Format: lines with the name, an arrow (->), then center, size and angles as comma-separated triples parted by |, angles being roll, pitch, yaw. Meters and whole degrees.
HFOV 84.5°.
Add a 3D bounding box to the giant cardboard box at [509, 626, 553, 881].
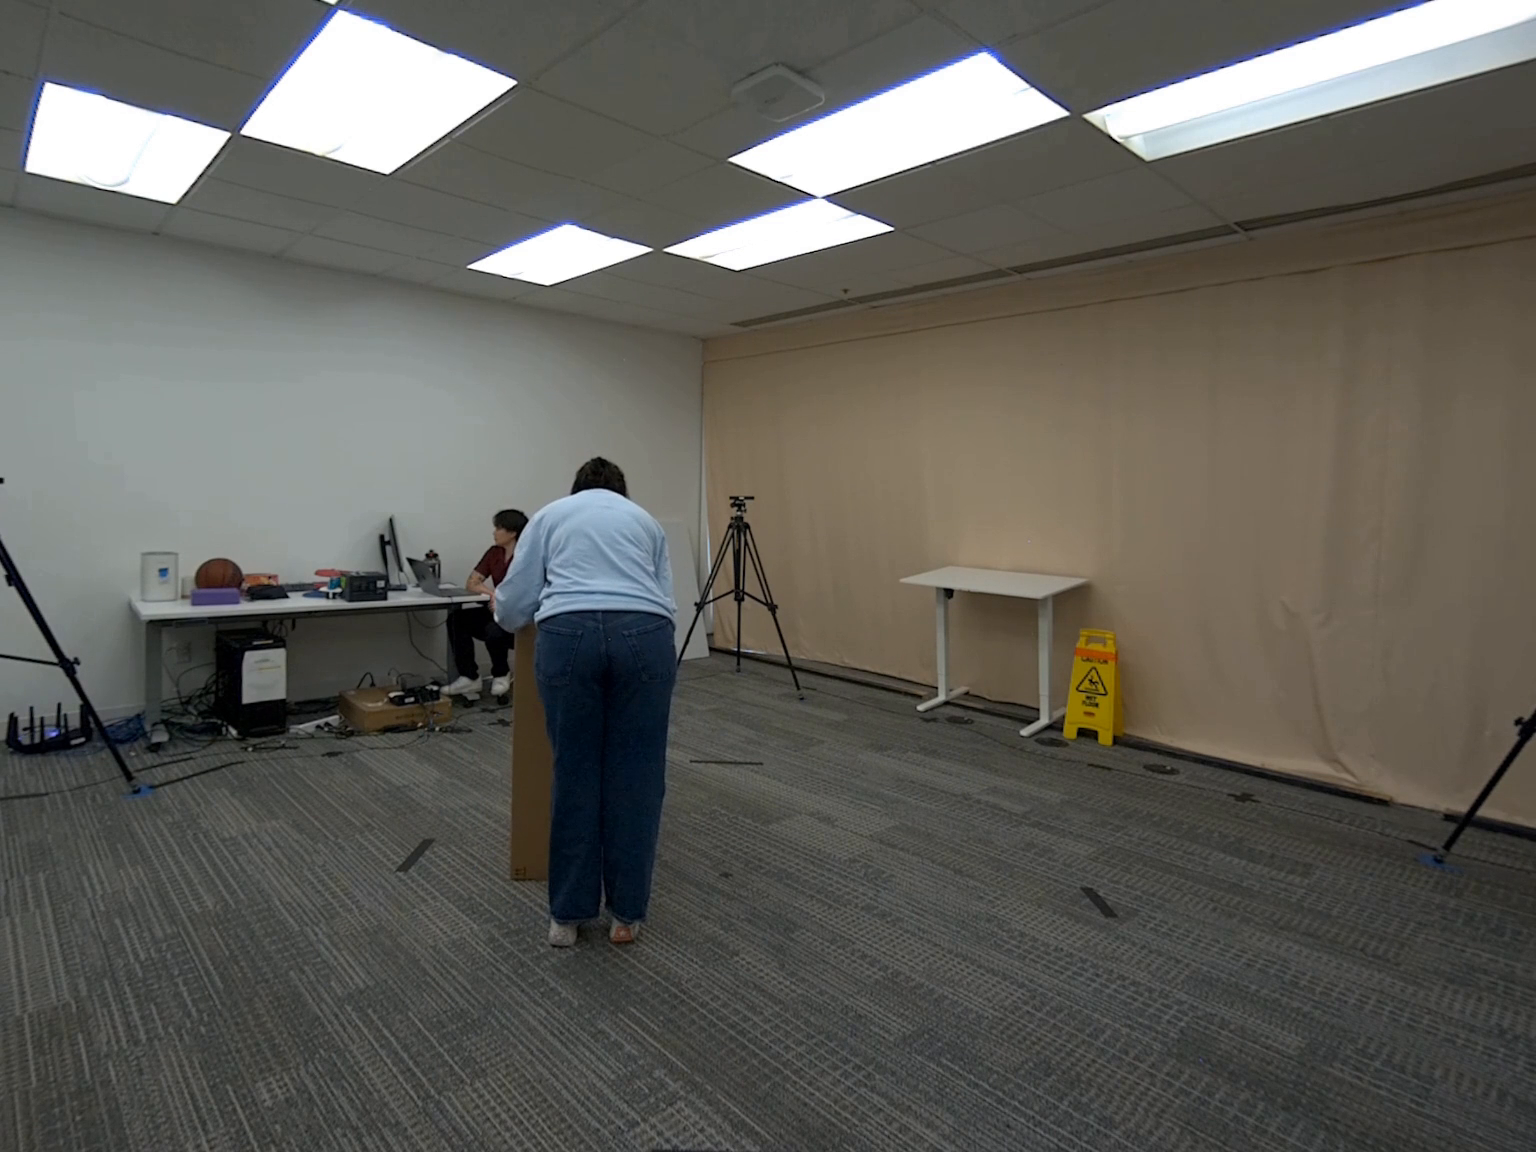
giant cardboard box -> -0.753, 0.567, 3.306 | 0.423, 1.024, 0.582 | 1, 3, -9
